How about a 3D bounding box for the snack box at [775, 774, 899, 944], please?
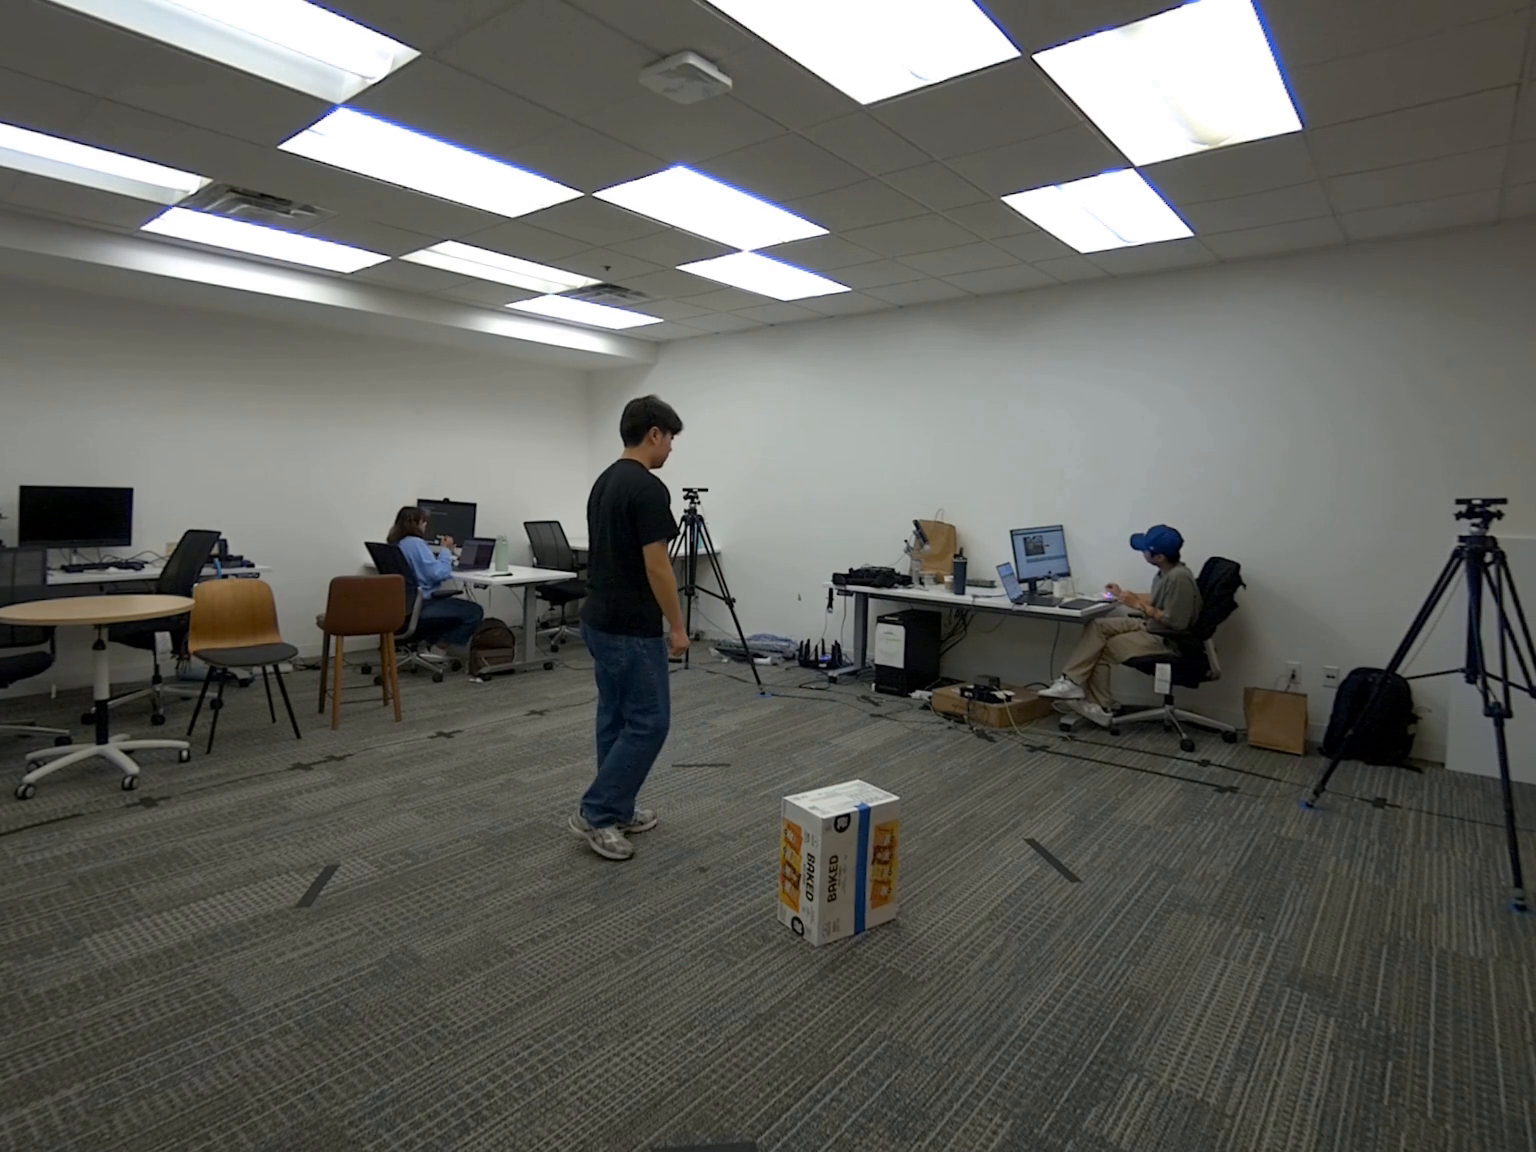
[{"bbox_3d":[0.224,0.907,2.747,0.330,0.404,0.212,-2,4,-36],"label":"snack box"}]
